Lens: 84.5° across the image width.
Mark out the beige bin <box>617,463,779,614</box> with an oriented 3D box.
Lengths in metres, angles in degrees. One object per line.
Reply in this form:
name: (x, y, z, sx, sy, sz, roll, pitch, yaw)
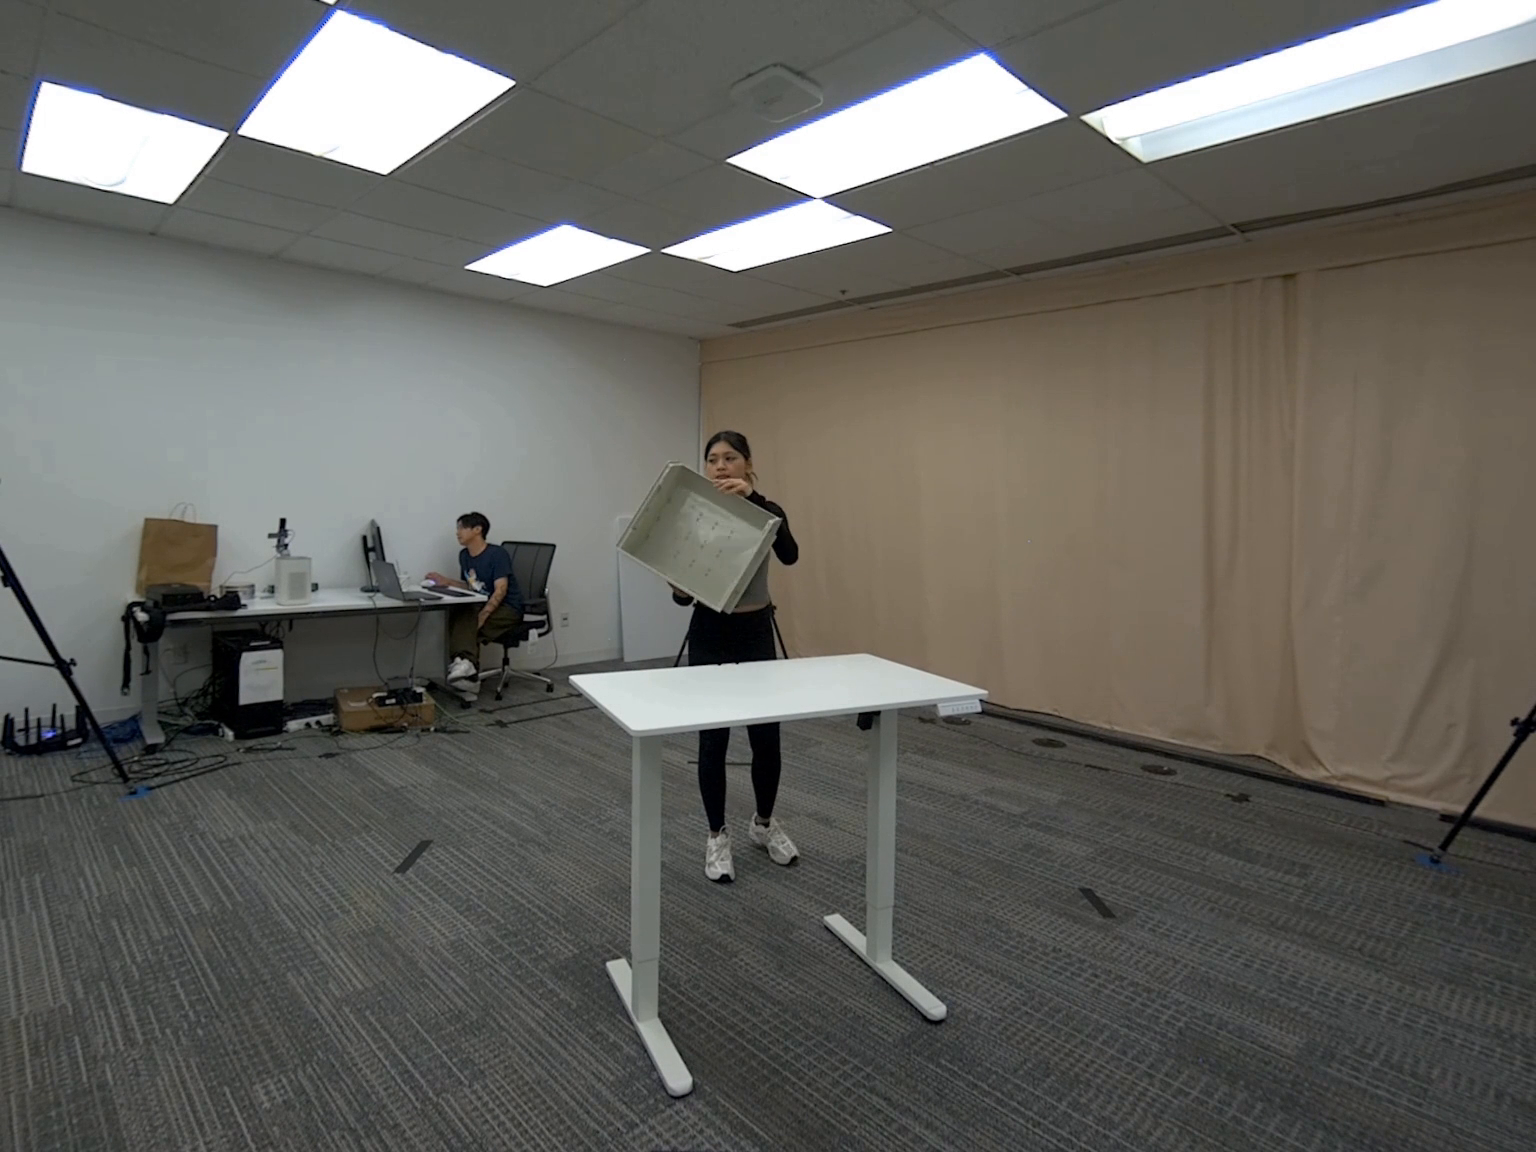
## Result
beige bin: (-0.232, -0.135, 2.835, 0.428, 0.377, 0.186, 30, -3, 13)
